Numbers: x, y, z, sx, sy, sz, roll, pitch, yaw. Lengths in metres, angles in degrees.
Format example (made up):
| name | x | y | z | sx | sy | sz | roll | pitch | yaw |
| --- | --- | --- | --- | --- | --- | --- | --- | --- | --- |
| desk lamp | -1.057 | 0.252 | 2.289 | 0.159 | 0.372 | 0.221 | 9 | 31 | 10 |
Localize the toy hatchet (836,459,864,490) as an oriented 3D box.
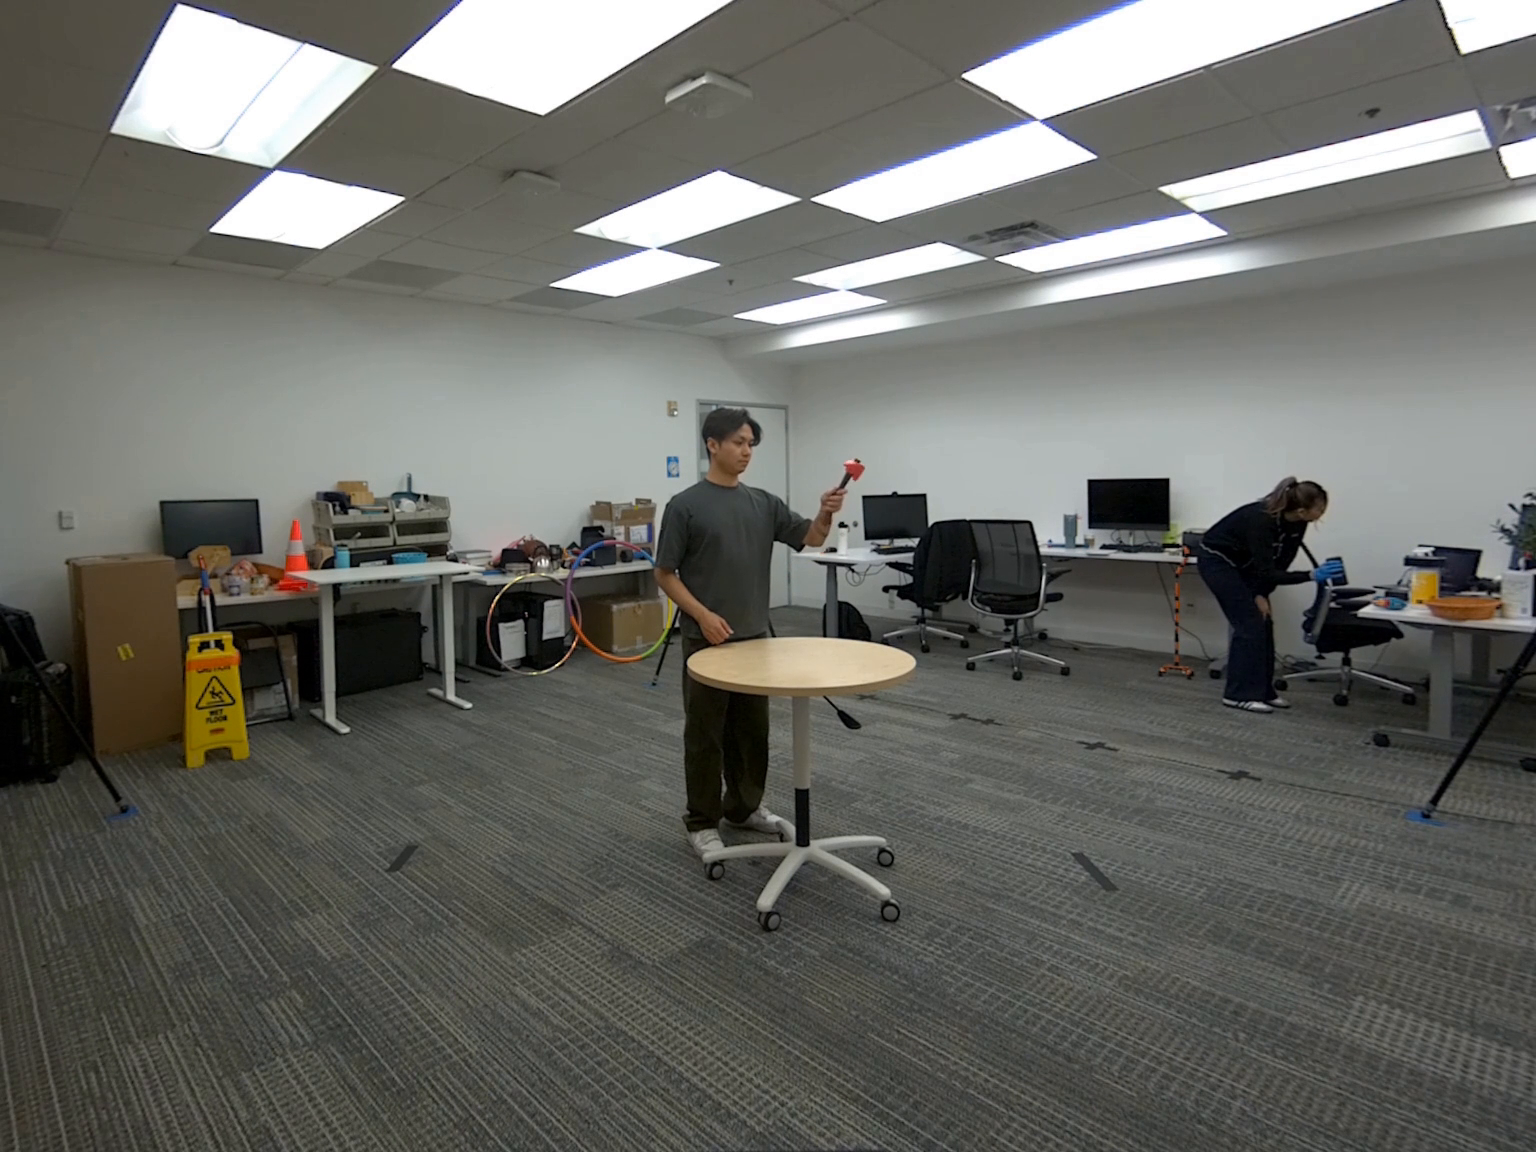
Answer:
| name | x | y | z | sx | sy | sz | roll | pitch | yaw |
| --- | --- | --- | --- | --- | --- | --- | --- | --- | --- |
| toy hatchet | 0.273 | -0.299 | 3.042 | 0.030 | 0.266 | 0.128 | 39 | 38 | 28 |
